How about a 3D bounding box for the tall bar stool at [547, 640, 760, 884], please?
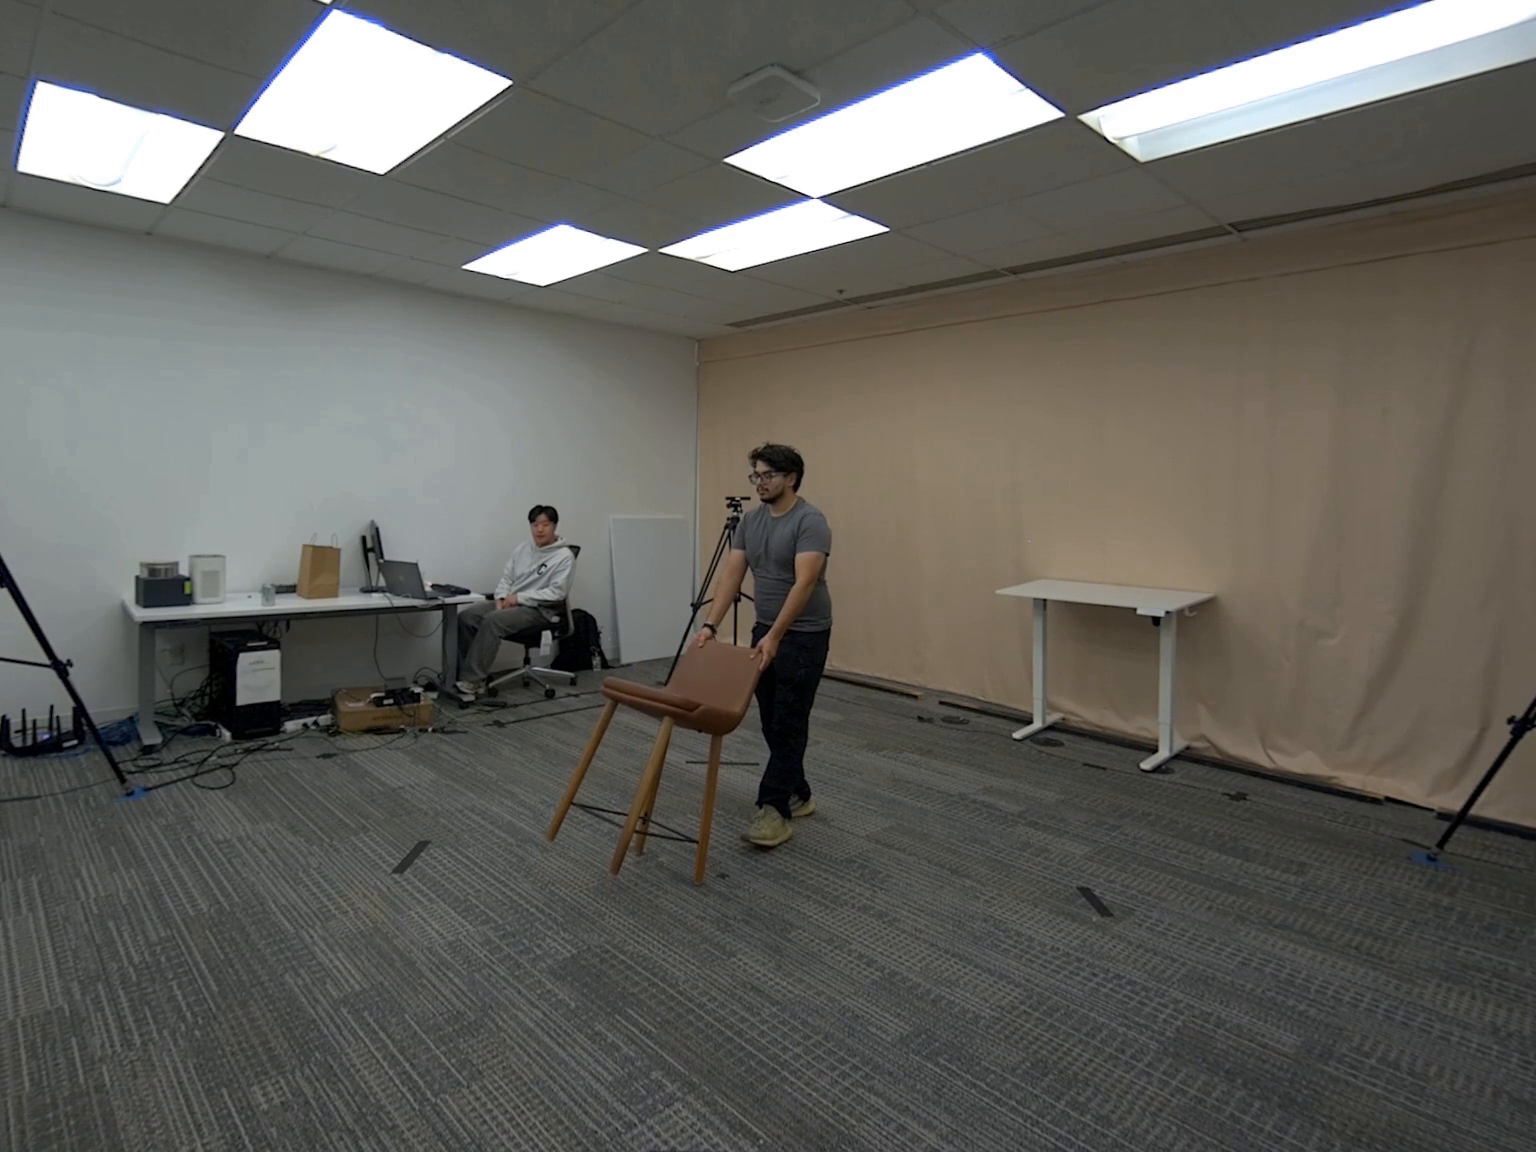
[{"bbox_3d":[-0.391,0.618,3.109,0.468,0.895,0.453,4,-19,44],"label":"tall bar stool"}]
